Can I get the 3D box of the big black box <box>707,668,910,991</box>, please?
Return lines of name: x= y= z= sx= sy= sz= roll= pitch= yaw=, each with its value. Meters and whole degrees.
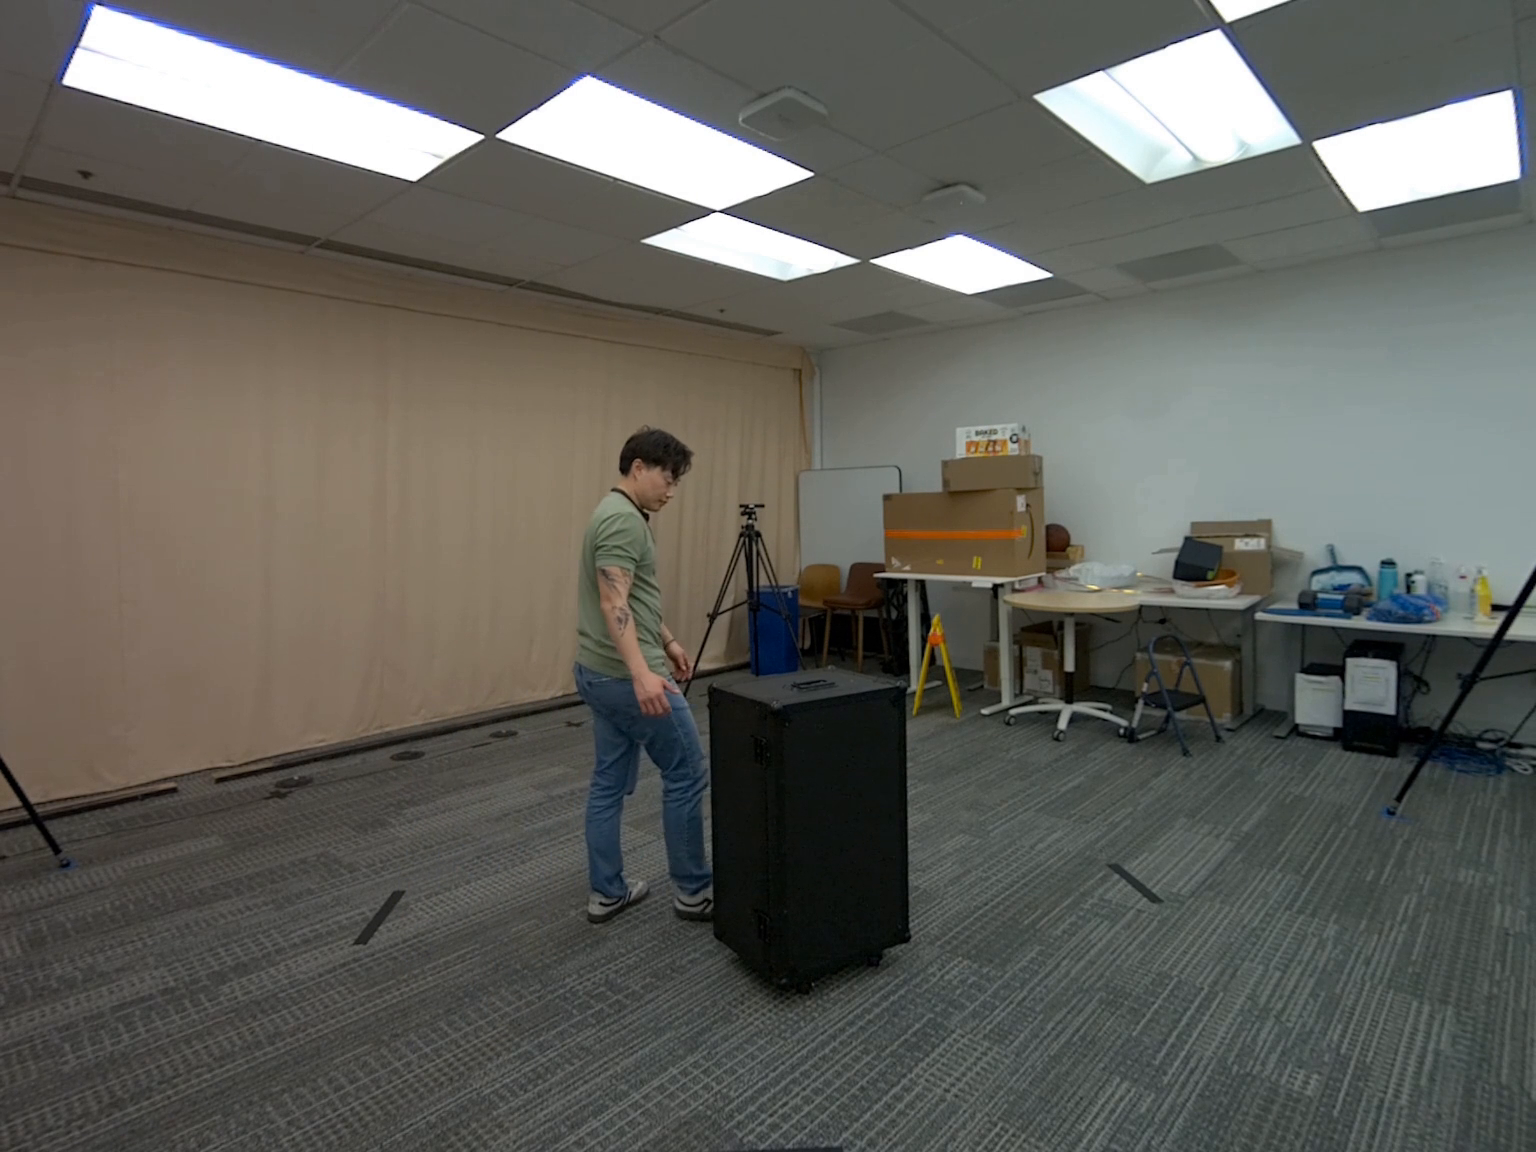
big black box: x=0.118 y=0.752 z=2.546 sx=0.507 sy=0.860 sz=0.408 roll=-3 pitch=2 yaw=-33
